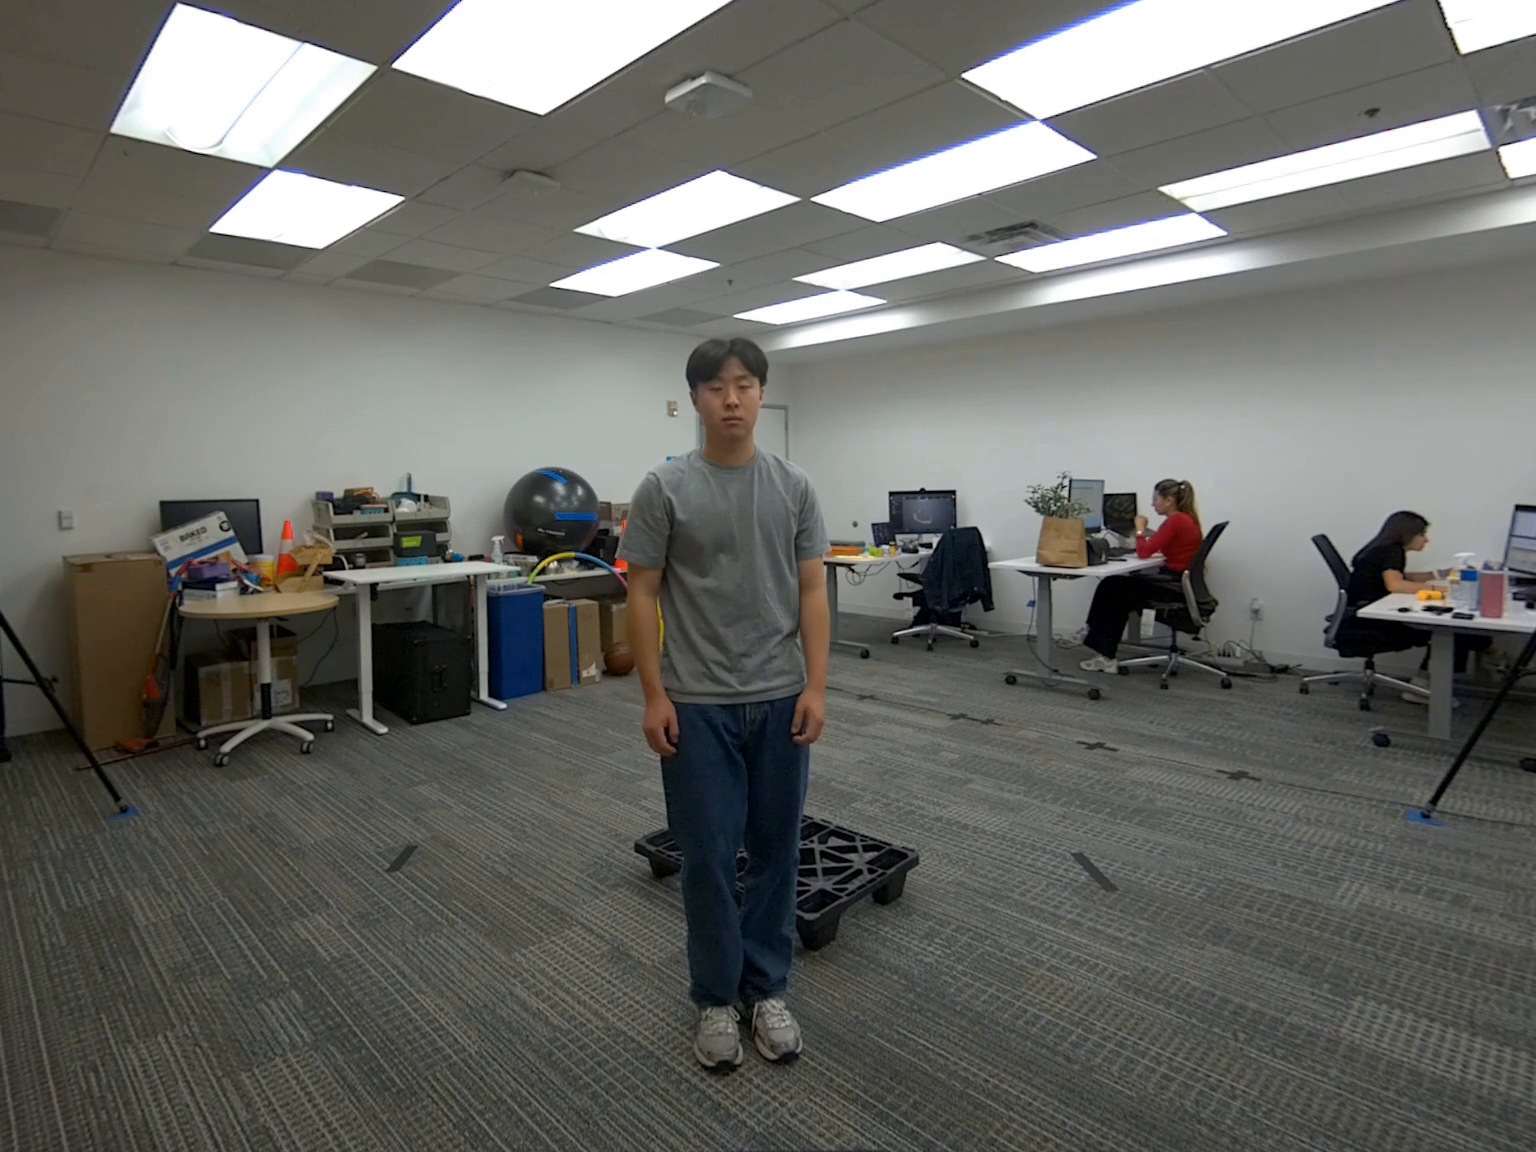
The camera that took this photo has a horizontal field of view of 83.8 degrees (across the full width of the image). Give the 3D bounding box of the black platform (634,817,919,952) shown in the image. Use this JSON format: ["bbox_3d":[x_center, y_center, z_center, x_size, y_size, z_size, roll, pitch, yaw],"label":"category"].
[{"bbox_3d":[0.023,0.997,2.929,0.830,0.142,0.590,5,9,43],"label":"black platform"}]
